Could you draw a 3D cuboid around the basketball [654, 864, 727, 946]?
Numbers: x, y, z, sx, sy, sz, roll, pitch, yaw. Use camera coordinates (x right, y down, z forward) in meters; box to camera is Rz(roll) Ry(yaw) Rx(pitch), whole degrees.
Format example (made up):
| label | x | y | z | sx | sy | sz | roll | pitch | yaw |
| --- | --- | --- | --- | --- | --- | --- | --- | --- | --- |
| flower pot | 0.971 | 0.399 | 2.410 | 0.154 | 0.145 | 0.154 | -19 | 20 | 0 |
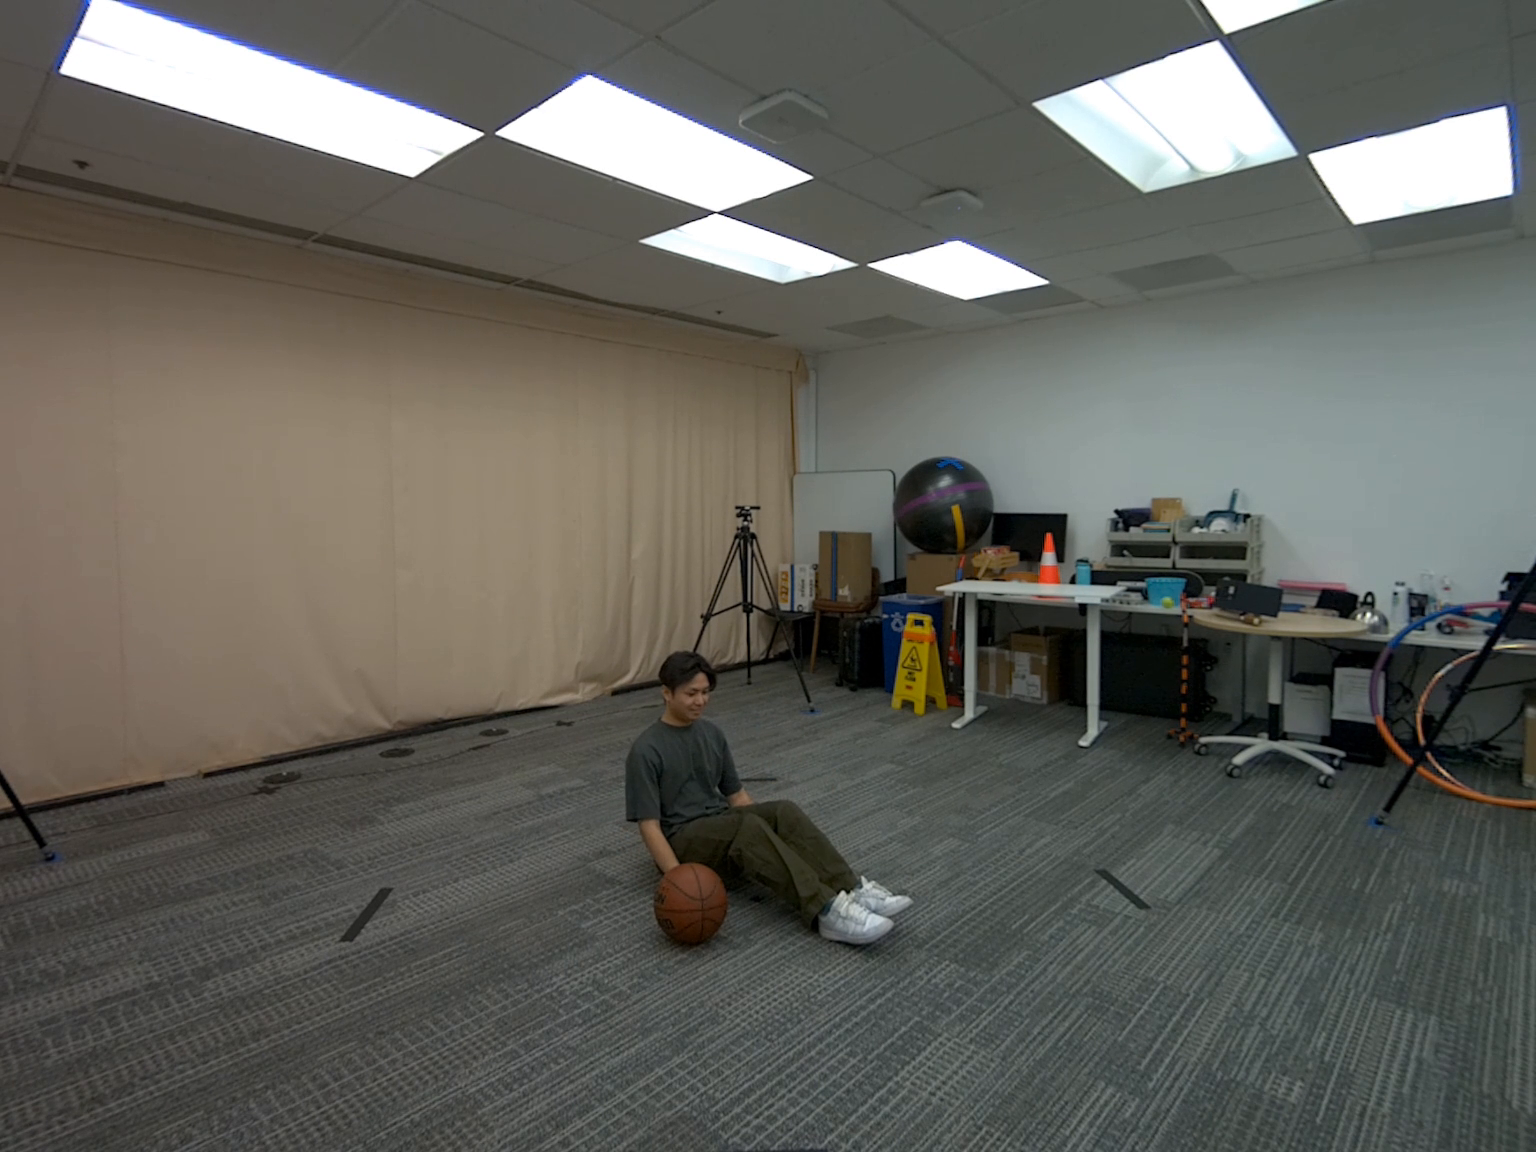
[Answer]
| label | x | y | z | sx | sy | sz | roll | pitch | yaw |
| --- | --- | --- | --- | --- | --- | --- | --- | --- | --- |
| basketball | -0.245 | 1.043 | 2.706 | 0.236 | 0.235 | 0.237 | 0 | 4 | -2 |
